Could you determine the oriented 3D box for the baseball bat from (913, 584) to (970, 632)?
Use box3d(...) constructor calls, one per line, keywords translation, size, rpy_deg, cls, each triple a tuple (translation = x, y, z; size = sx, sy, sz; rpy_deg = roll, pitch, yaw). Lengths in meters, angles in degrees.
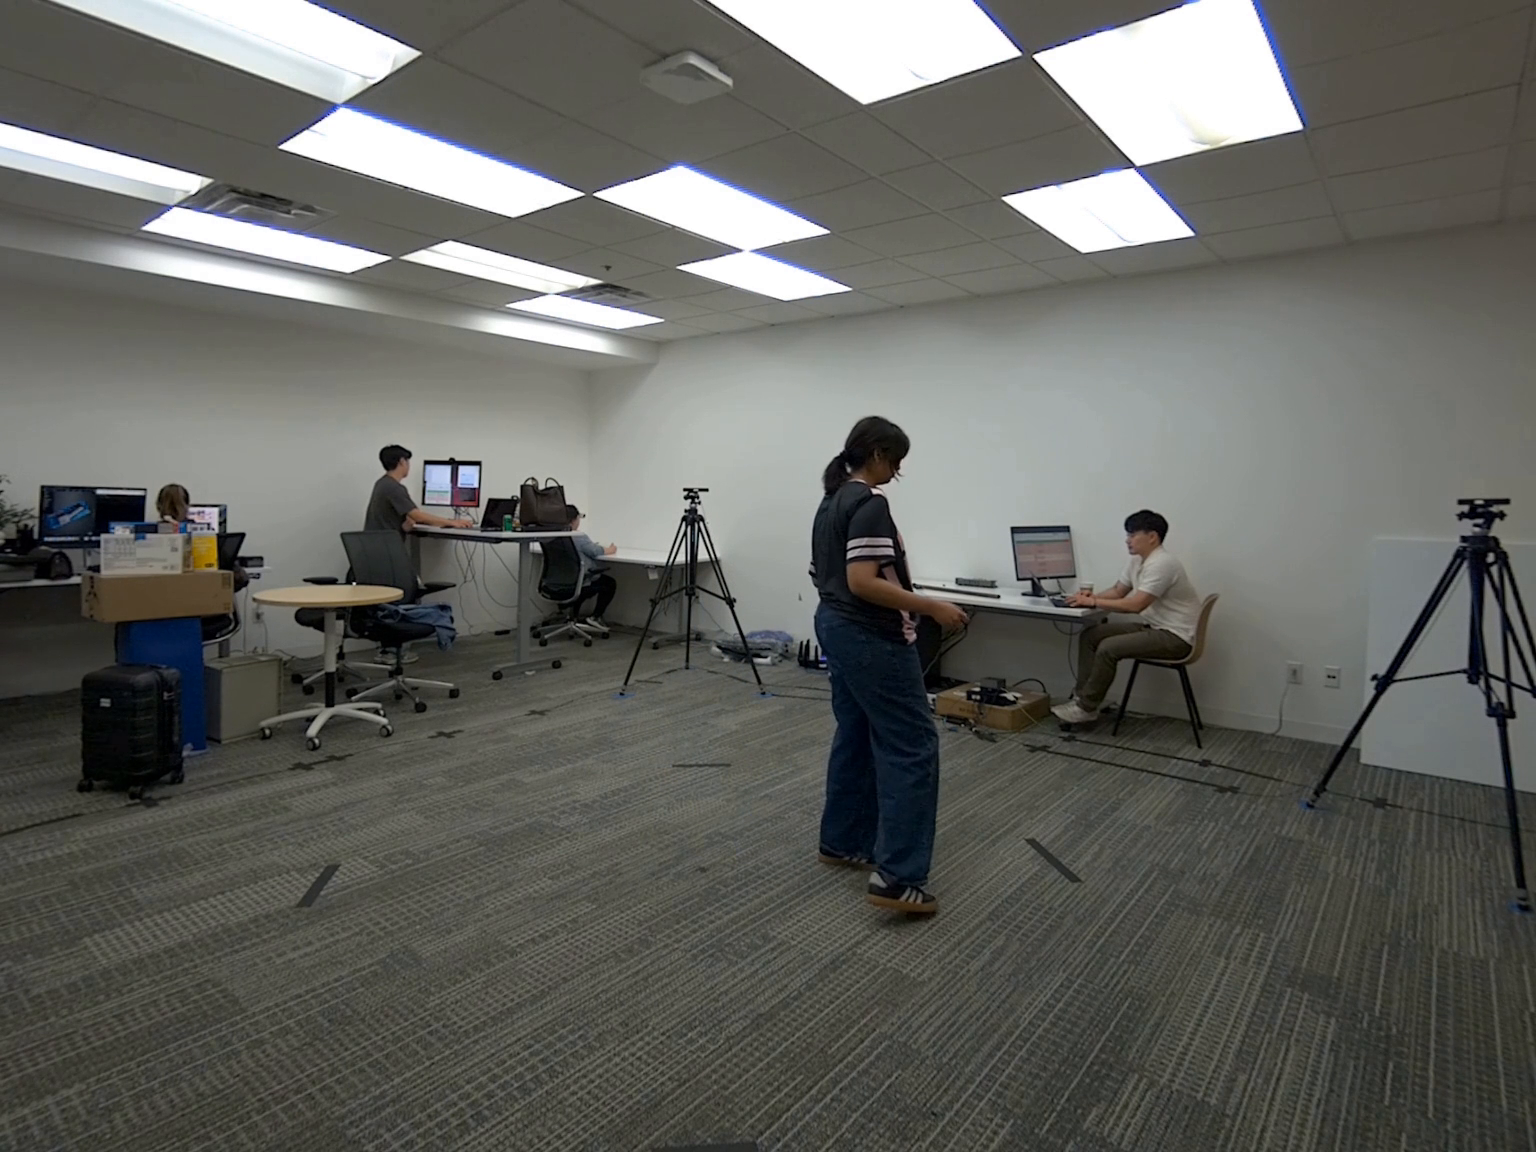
box3d(translation=(0.579, 0.105, 3.127), size=(0.088, 0.088, 0.553), rpy_deg=(0, 8, -13), cls="baseball bat")
